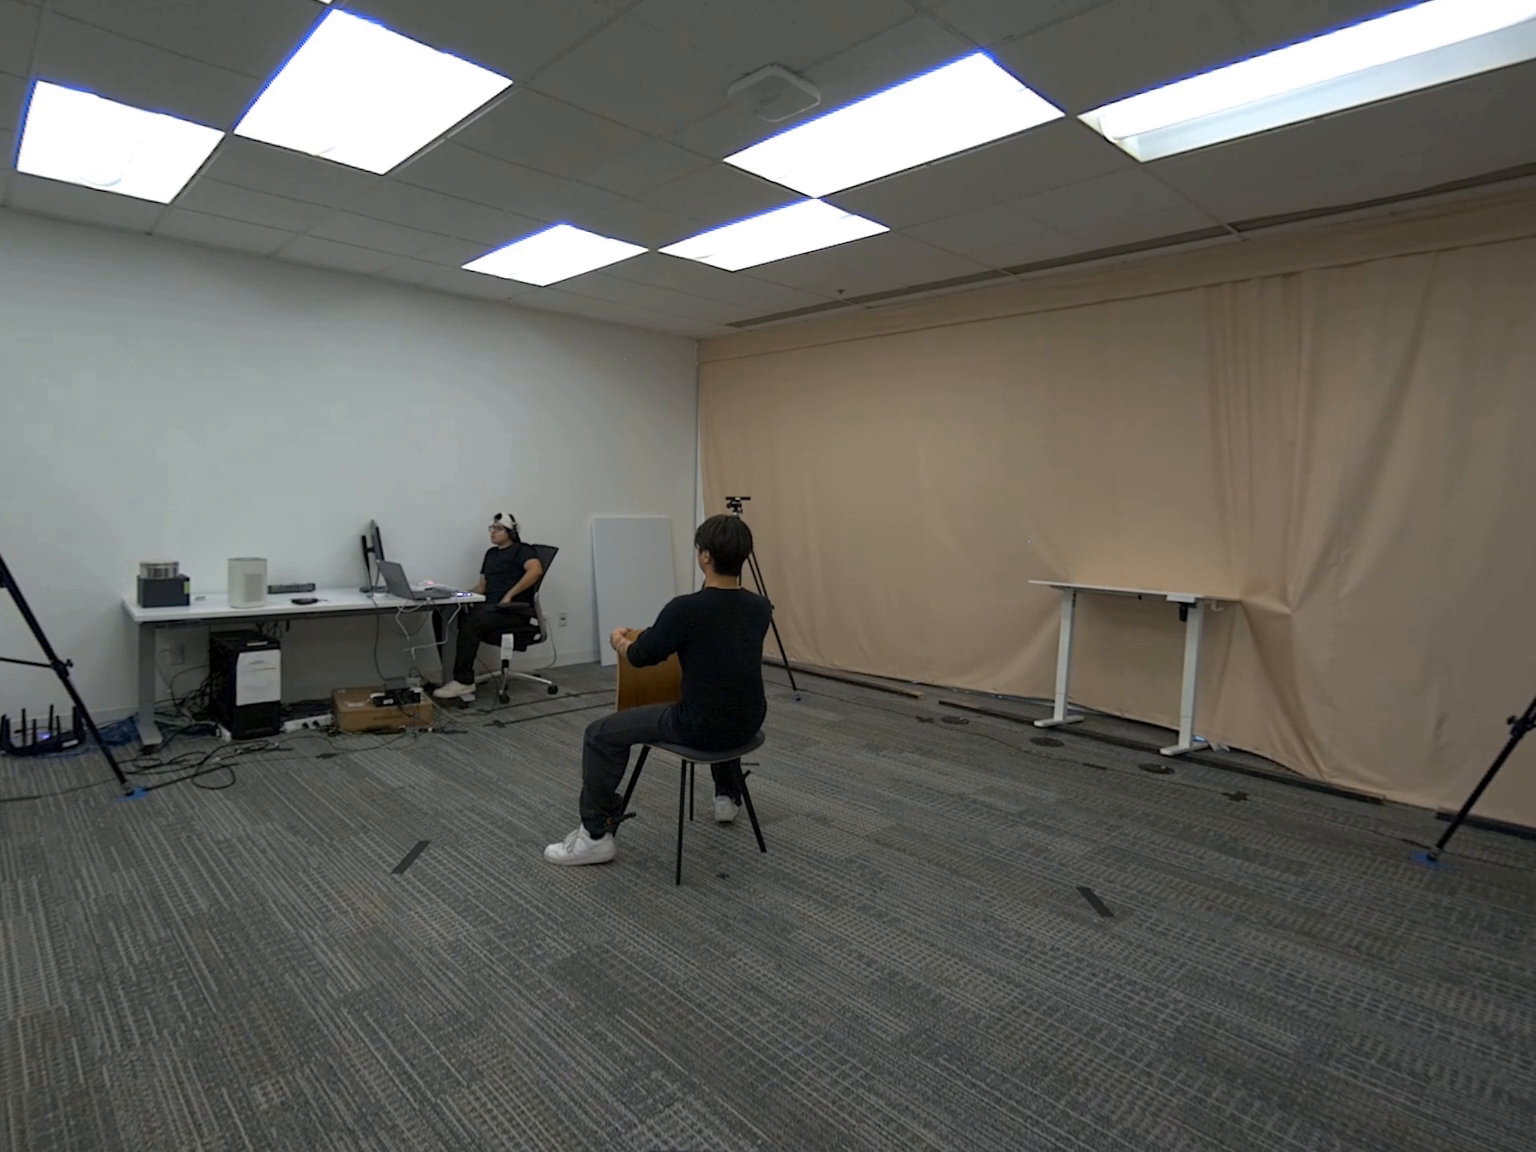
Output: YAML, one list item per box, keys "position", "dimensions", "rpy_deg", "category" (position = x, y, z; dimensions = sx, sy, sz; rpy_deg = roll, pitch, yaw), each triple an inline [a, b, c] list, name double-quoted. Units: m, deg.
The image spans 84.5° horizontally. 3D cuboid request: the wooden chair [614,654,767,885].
- position: [-0.306, 0.655, 3.293]
  dimensions: [0.467, 0.877, 0.535]
  rpy_deg: [-1, 0, -43]
  category: "wooden chair"
